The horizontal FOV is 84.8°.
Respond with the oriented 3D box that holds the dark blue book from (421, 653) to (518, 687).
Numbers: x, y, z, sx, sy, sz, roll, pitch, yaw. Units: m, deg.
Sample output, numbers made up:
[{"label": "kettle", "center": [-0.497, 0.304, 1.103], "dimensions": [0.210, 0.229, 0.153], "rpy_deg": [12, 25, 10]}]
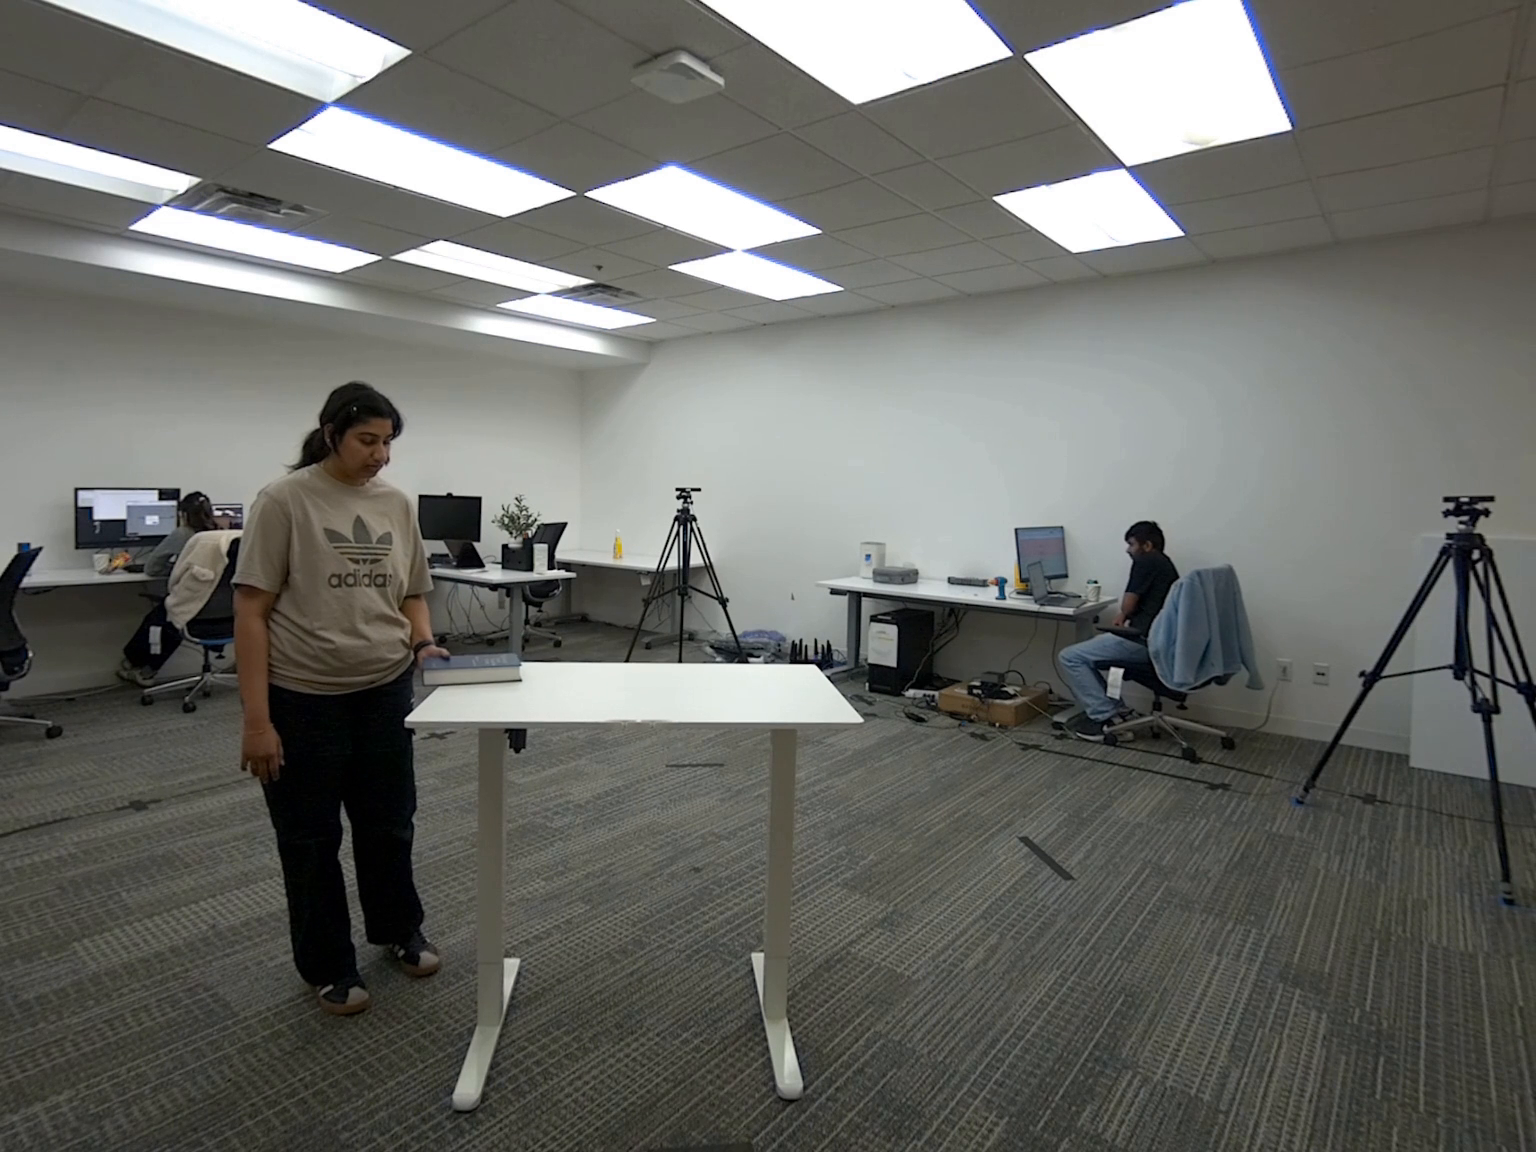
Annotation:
[{"label": "dark blue book", "center": [-0.808, 0.247, 2.214], "dimensions": [0.241, 0.045, 0.166], "rpy_deg": [0, 5, -16]}]
